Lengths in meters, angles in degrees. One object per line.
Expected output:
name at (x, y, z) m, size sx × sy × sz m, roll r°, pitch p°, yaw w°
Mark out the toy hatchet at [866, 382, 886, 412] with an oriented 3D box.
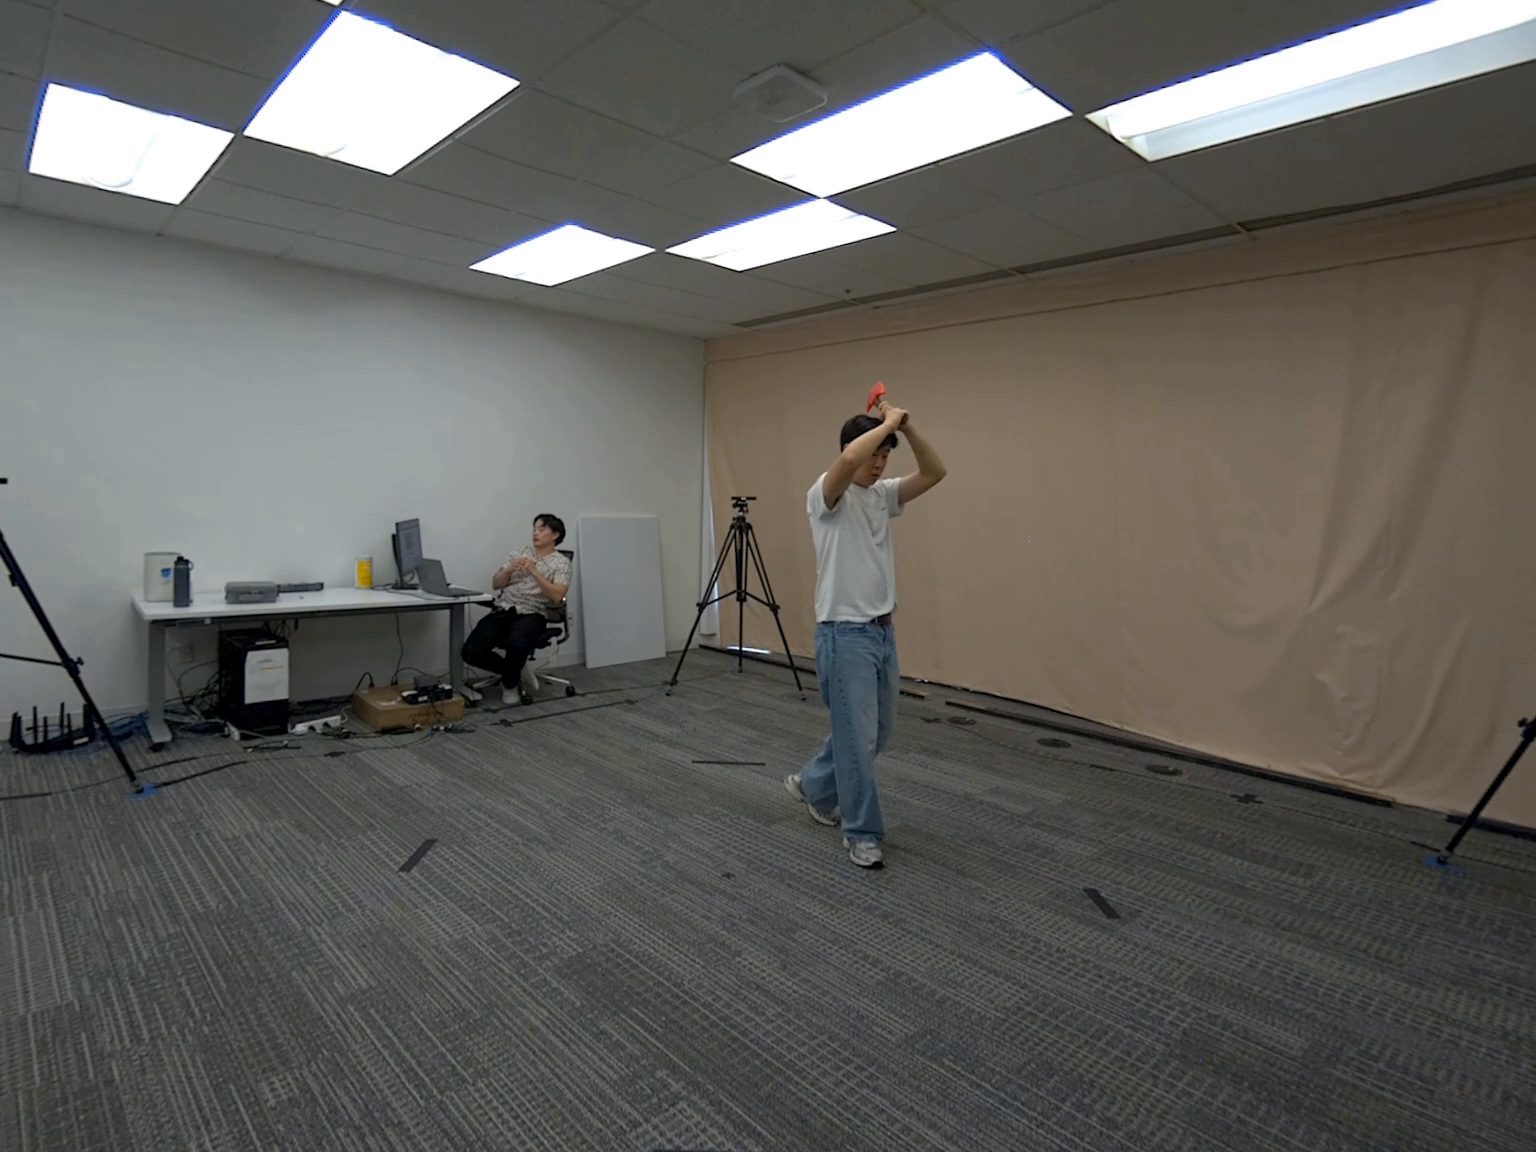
toy hatchet at (0.452, -0.677, 3.275) m, size 0.029 × 0.130 × 0.277 m, roll 7°, pitch 15°, yaw -26°
